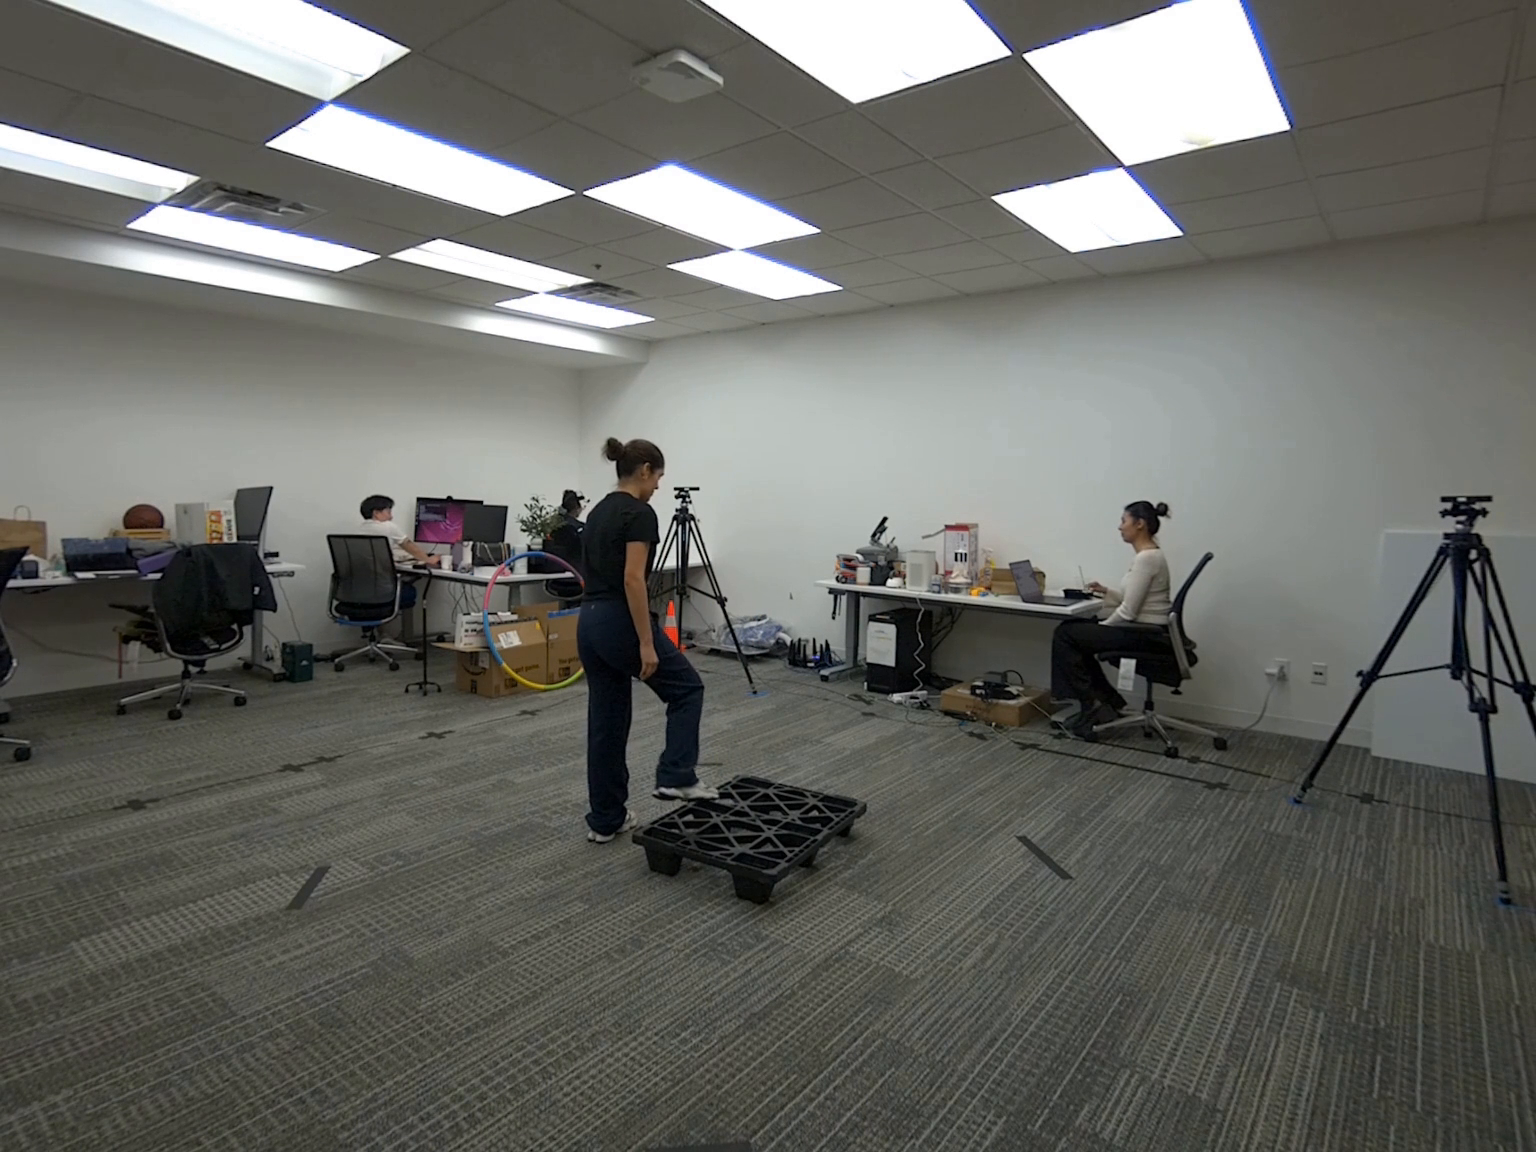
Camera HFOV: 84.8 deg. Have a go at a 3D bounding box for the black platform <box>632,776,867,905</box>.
[{"bbox_3d":[-0.038,0.986,3.274,0.623,0.143,0.784,4,6,31],"label":"black platform"}]
